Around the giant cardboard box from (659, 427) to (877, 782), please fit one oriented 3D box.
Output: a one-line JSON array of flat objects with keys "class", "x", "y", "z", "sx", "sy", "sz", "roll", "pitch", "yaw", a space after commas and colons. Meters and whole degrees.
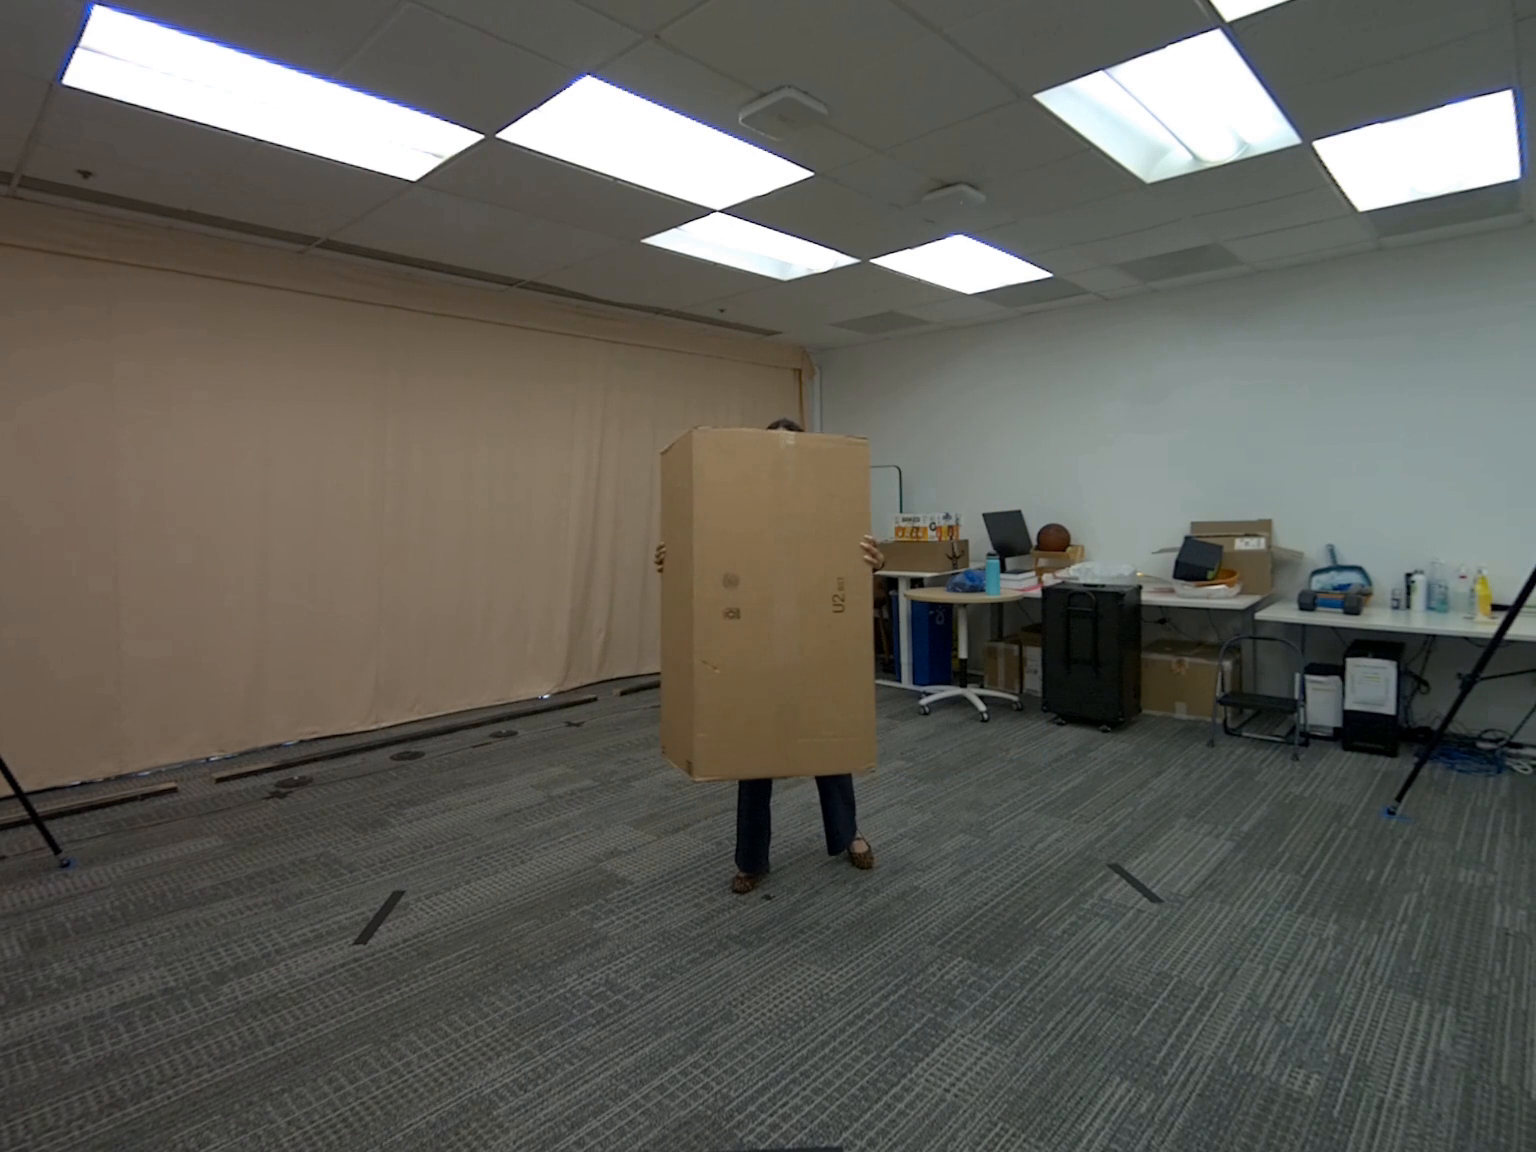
[{"class": "giant cardboard box", "x": -0.014, "y": 0.086, "z": 2.690, "sx": 0.567, "sy": 1.029, "sz": 0.433, "roll": 1, "pitch": -4, "yaw": -17}]
